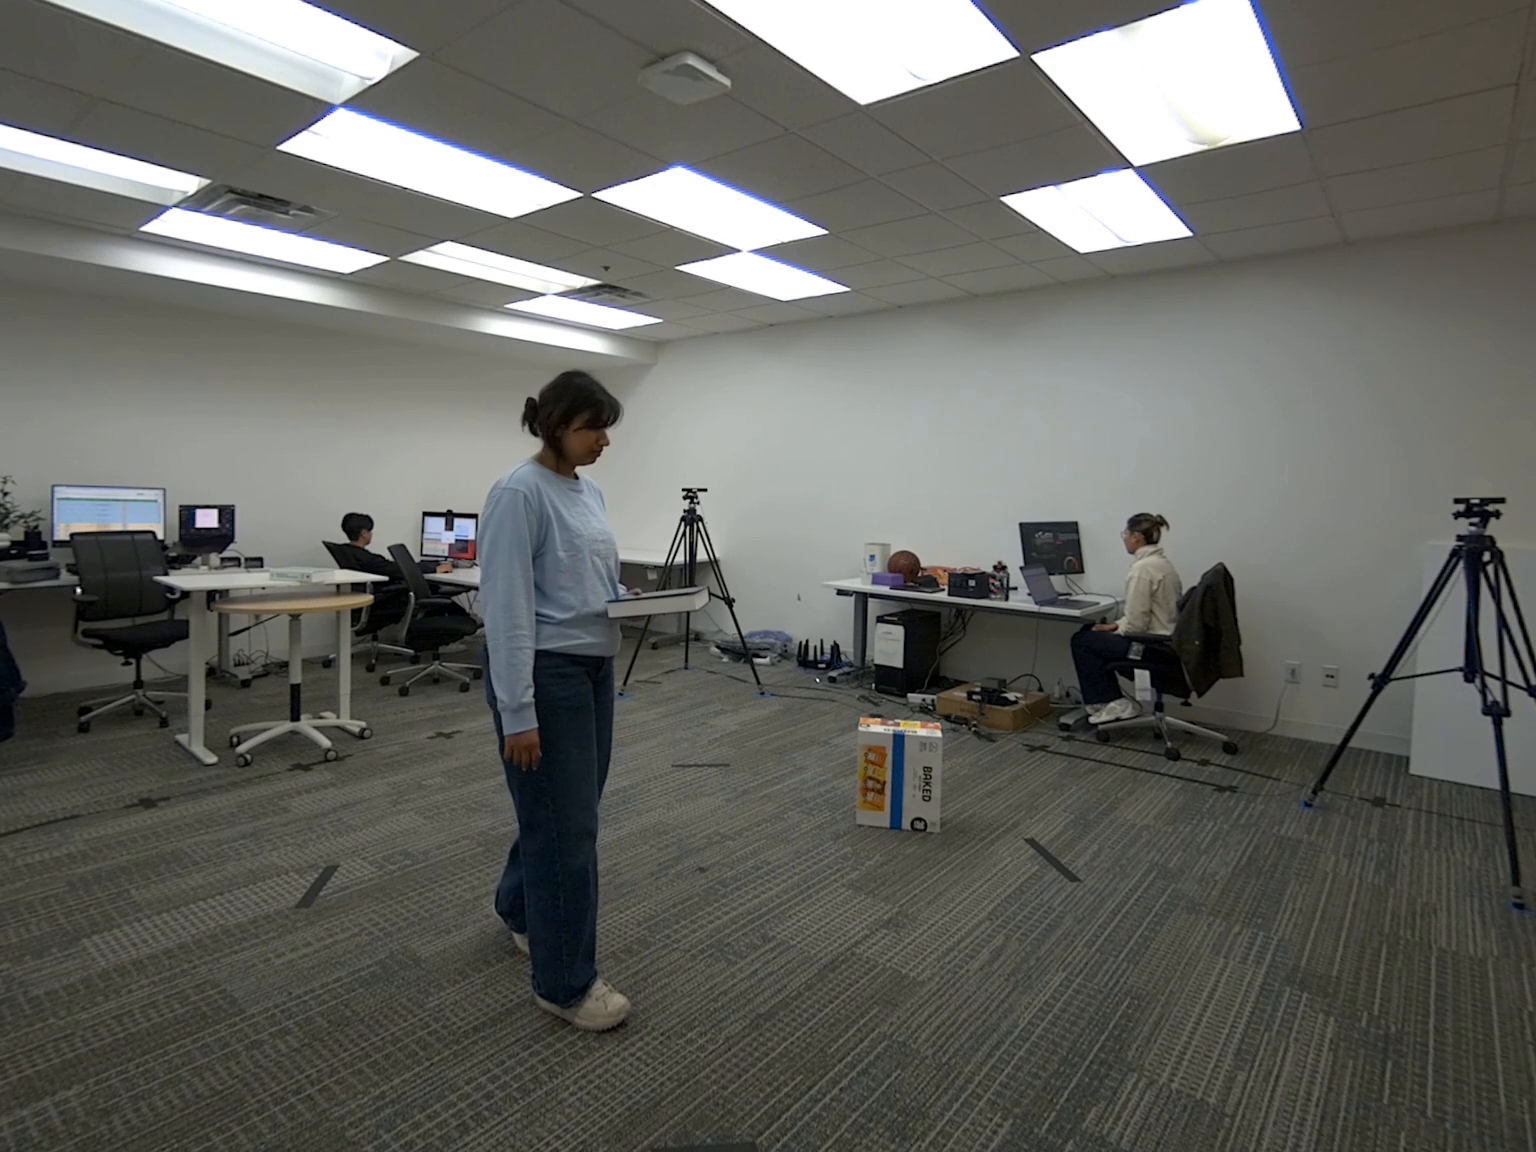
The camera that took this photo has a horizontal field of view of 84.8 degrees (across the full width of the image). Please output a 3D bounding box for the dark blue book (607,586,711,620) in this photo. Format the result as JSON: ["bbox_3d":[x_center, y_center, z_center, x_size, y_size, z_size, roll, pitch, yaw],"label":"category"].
[{"bbox_3d":[-0.294,0.069,2.255,0.248,0.045,0.162,-4,5,11],"label":"dark blue book"}]
